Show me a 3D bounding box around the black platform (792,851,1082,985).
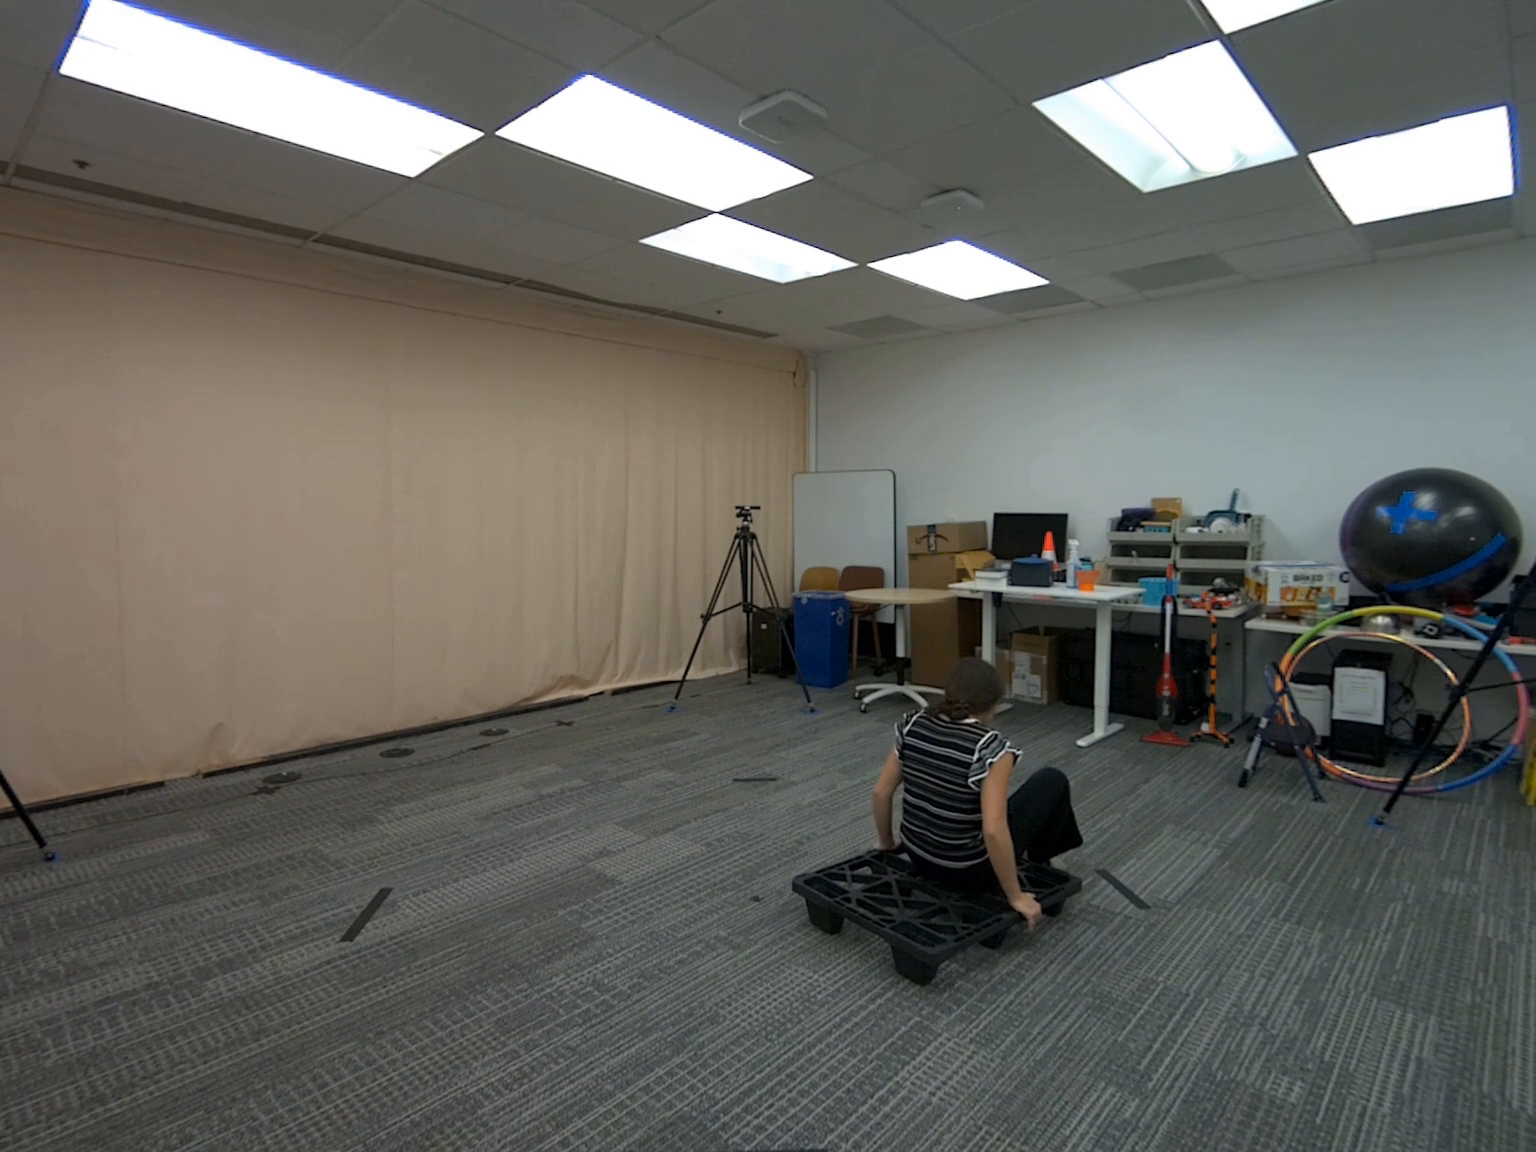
[{"bbox_3d":[0.574,1.086,2.831,0.781,0.143,0.625,-3,6,-39],"label":"black platform"}]
